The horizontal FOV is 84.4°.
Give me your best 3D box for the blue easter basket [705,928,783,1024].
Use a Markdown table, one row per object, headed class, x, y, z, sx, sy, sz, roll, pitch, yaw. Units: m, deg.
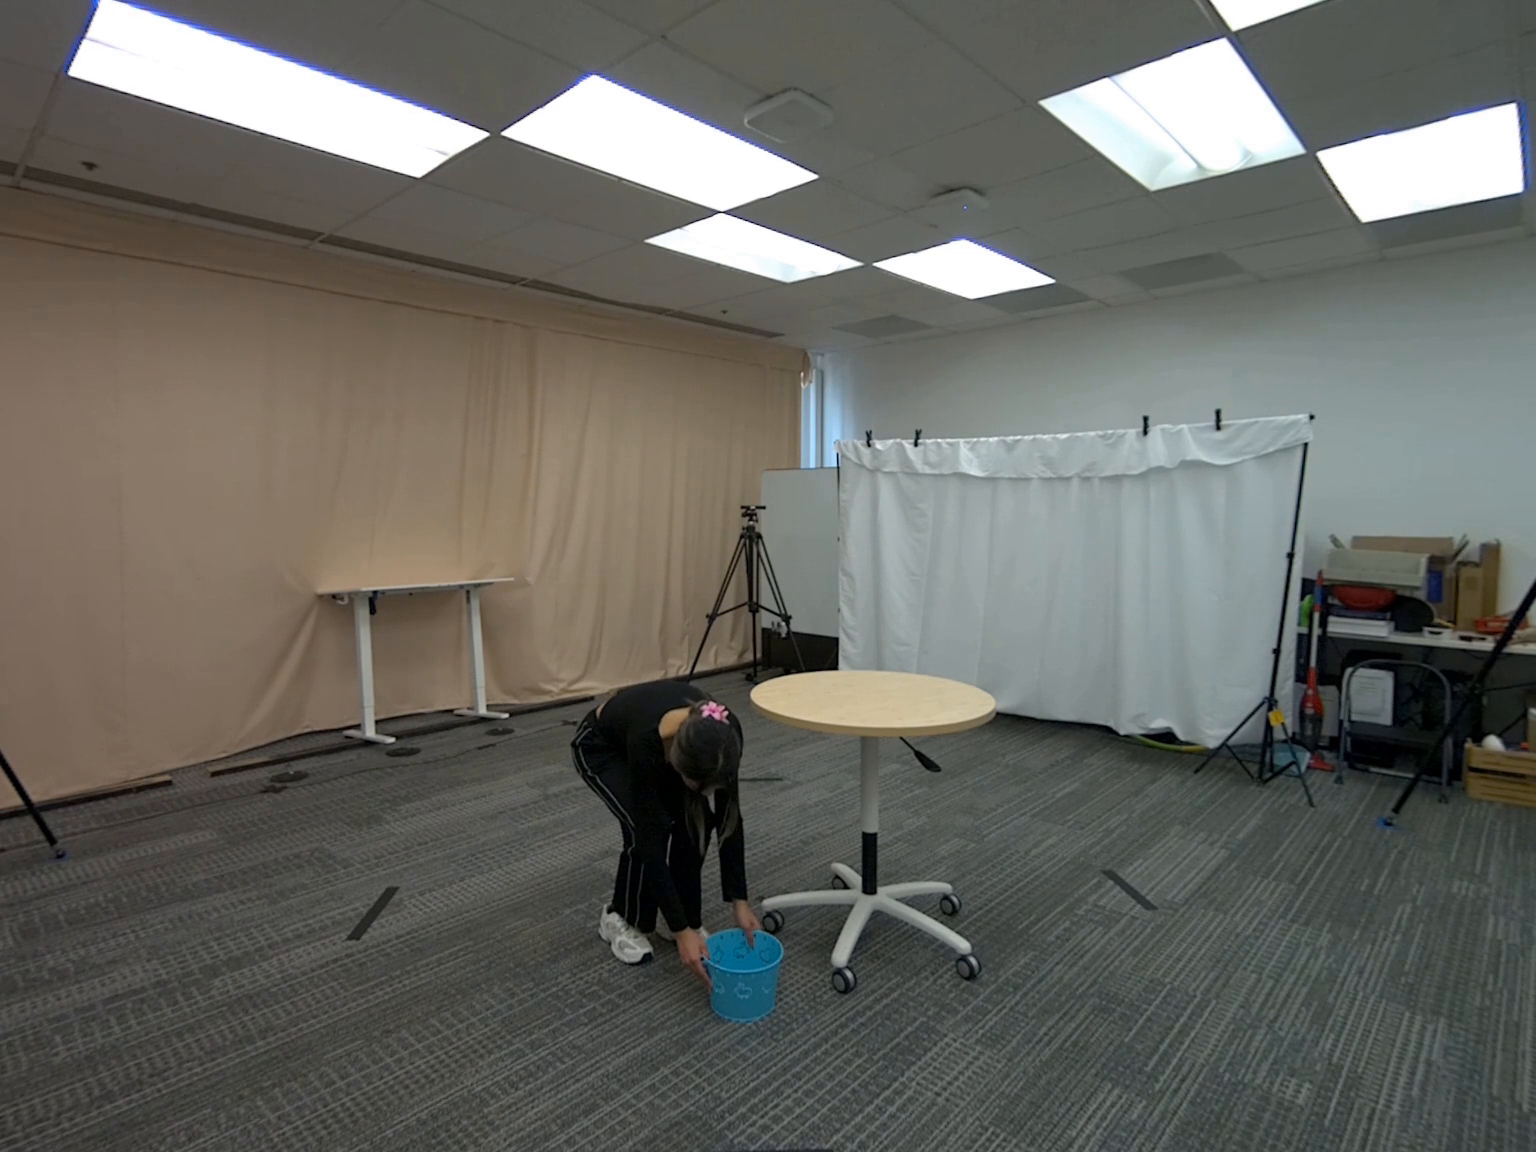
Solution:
| class | x | y | z | sx | sy | sz | roll | pitch | yaw |
| --- | --- | --- | --- | --- | --- | --- | --- | --- | --- |
| blue easter basket | -0.069 | 1.115 | 2.357 | 0.243 | 0.155 | 0.244 | -1 | 4 | -2 |
